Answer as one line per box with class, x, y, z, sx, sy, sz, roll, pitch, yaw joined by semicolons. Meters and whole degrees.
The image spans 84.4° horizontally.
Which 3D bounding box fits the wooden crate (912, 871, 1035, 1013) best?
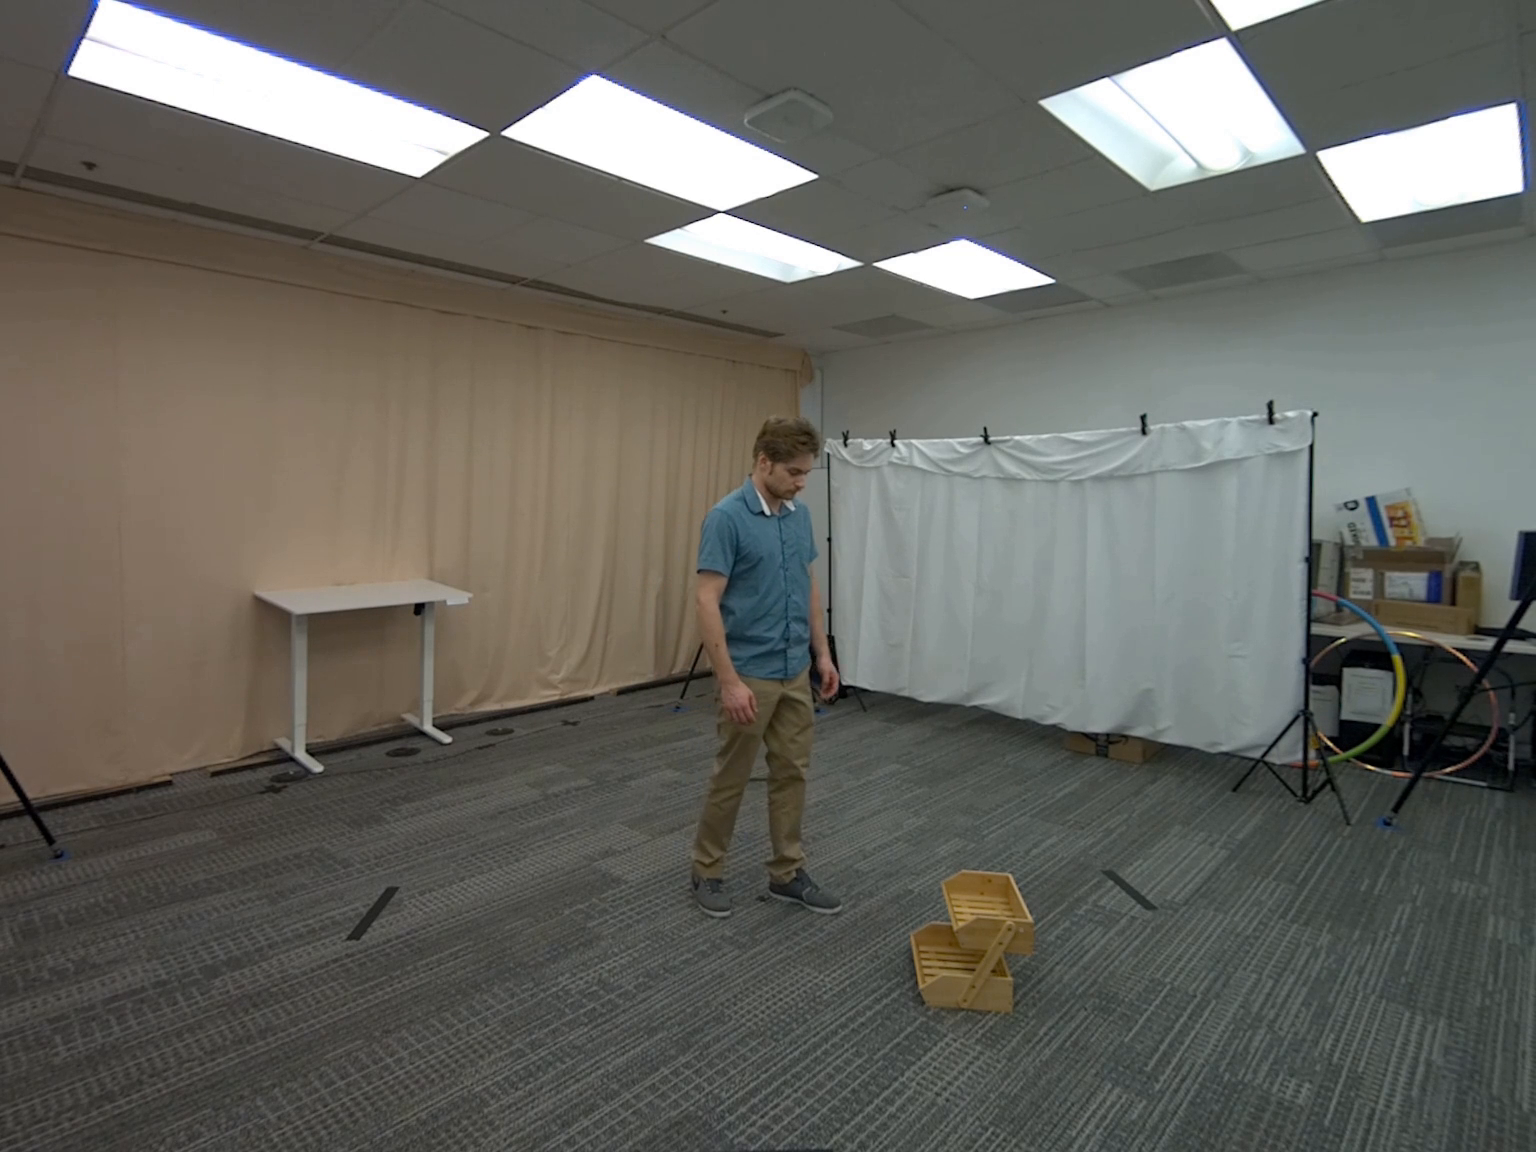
wooden crate;0.586;1.051;2.463;0.304;0.272;0.323;1;4;6
